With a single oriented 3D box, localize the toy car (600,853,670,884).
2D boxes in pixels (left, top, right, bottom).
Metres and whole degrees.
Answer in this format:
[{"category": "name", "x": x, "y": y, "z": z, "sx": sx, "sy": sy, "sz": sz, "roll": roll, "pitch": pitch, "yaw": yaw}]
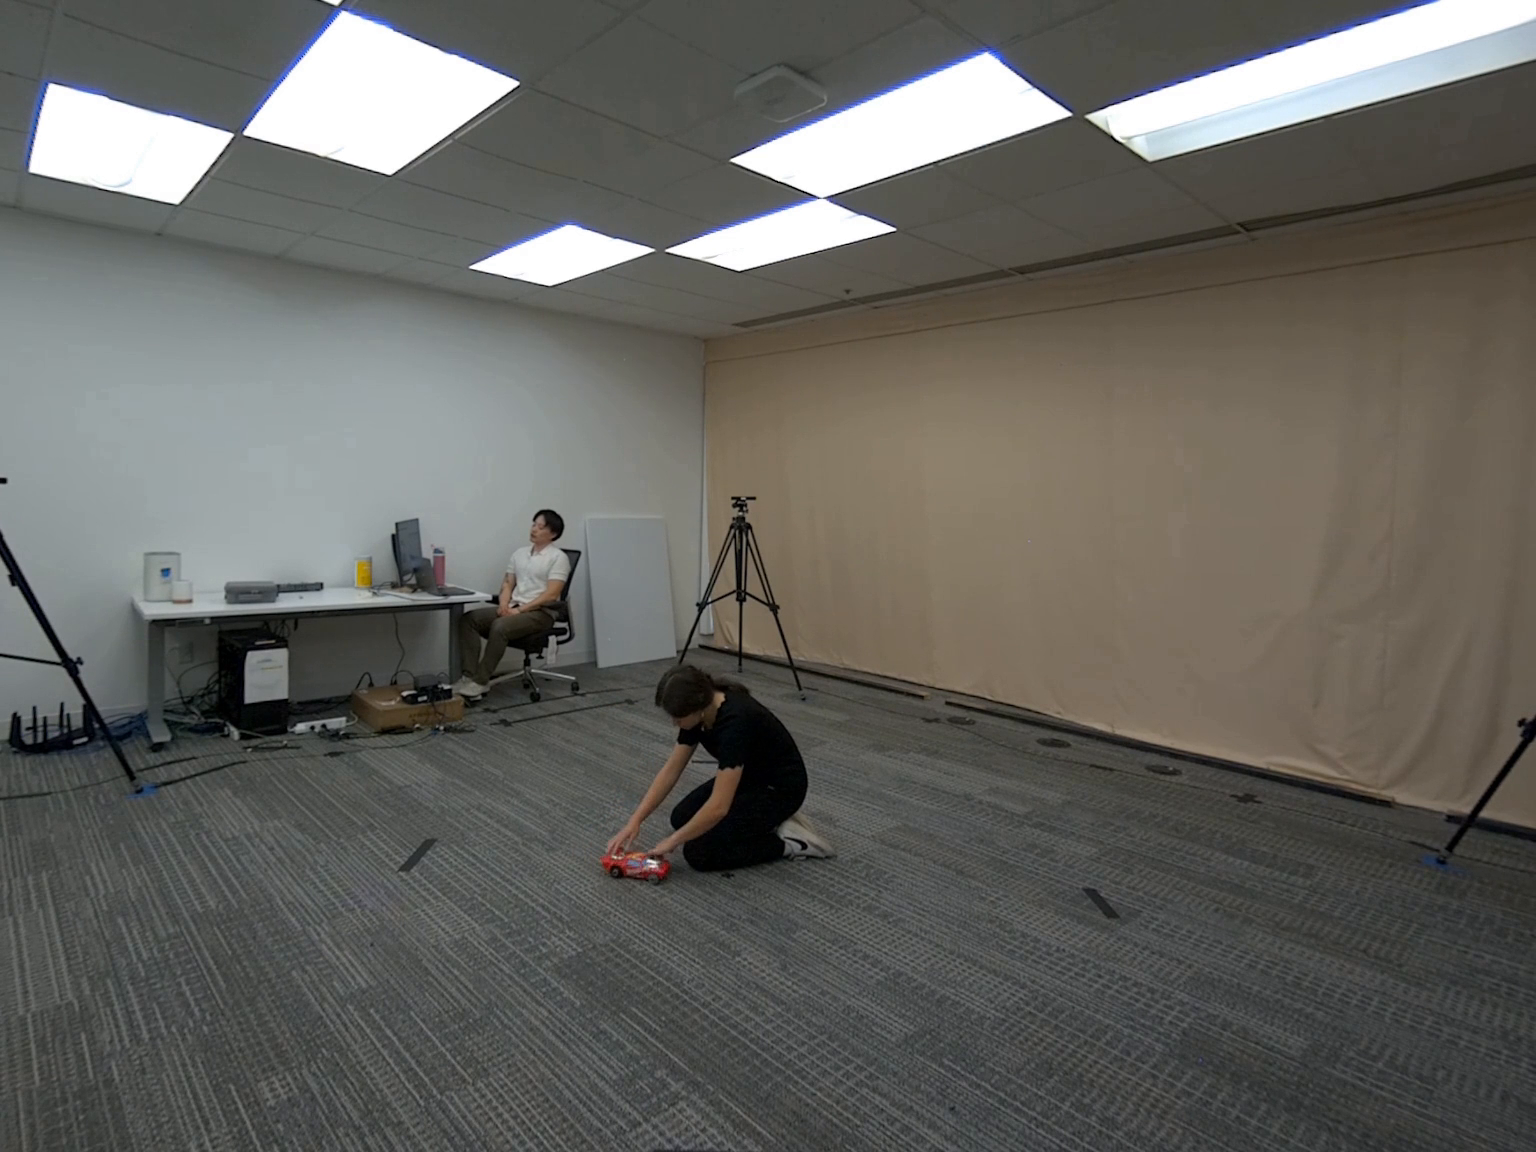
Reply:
[{"category": "toy car", "x": -0.502, "y": 1.067, "z": 3.095, "sx": 0.258, "sy": 0.083, "sz": 0.129, "roll": 14, "pitch": 8, "yaw": 14}]
